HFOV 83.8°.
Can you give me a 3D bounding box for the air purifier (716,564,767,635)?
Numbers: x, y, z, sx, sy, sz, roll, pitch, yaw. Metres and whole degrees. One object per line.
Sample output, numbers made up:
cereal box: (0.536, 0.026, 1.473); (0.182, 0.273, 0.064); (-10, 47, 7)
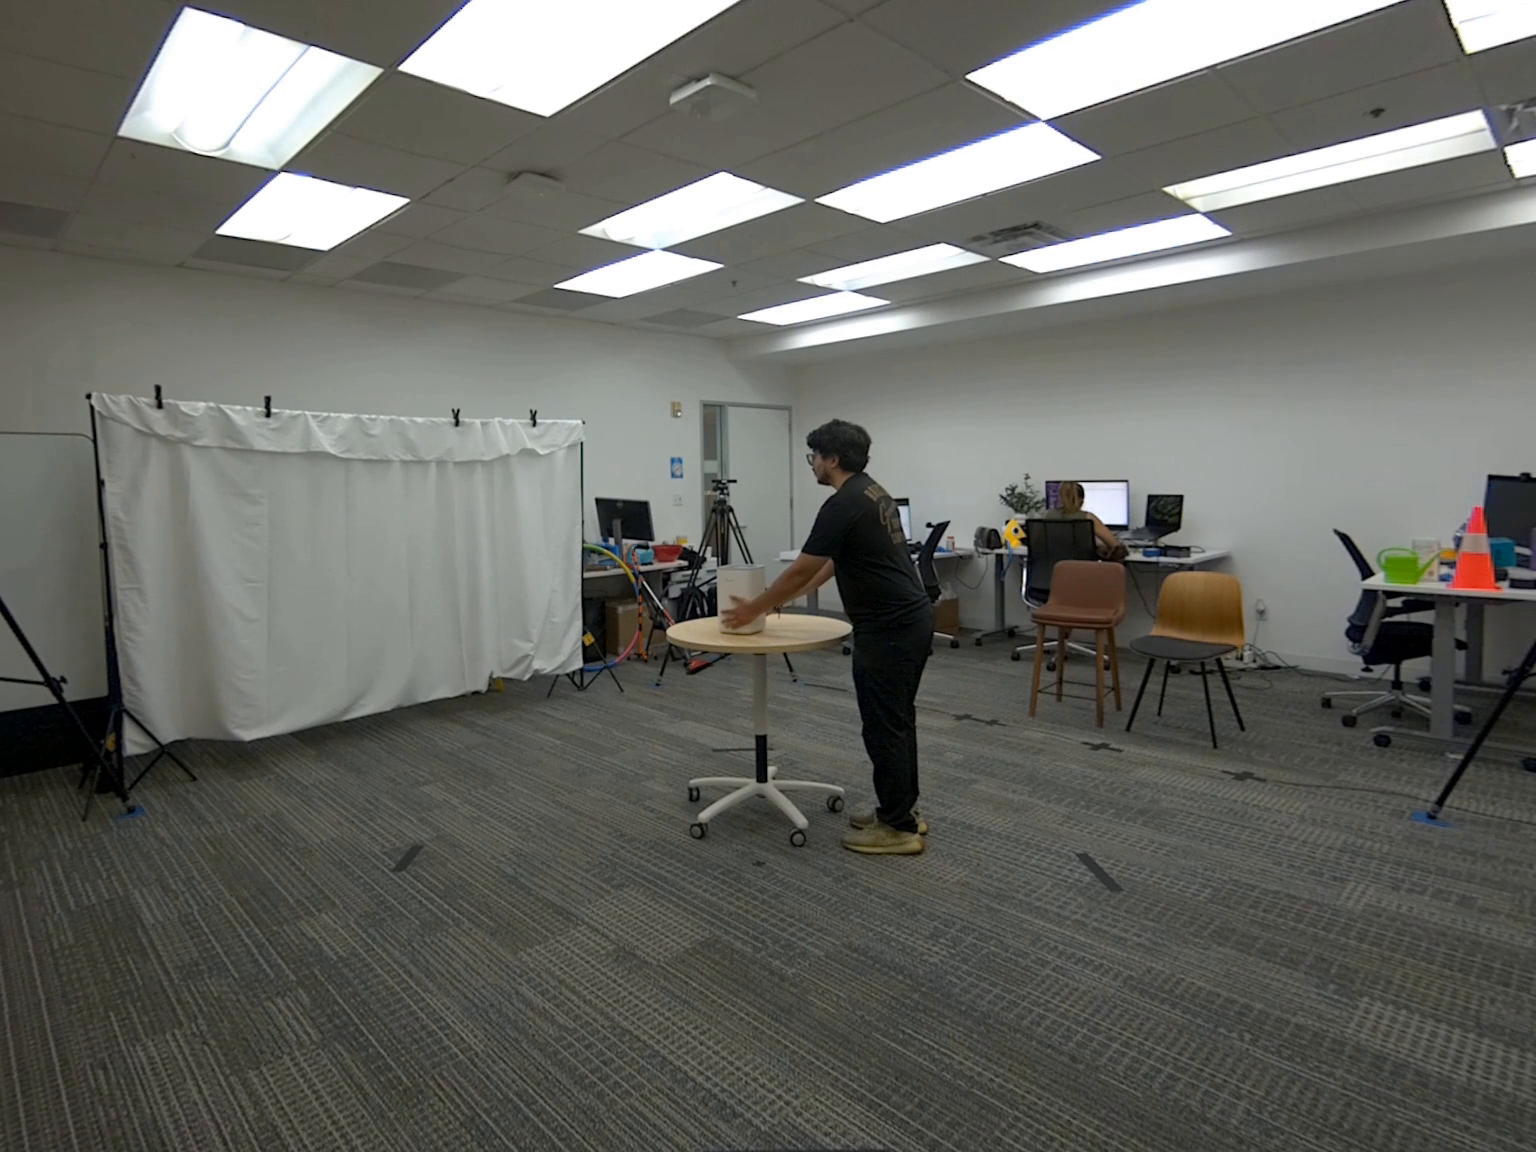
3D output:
air purifier: (-0.104, 0.089, 3.457); (0.175, 0.264, 0.168); (1, 5, 26)
